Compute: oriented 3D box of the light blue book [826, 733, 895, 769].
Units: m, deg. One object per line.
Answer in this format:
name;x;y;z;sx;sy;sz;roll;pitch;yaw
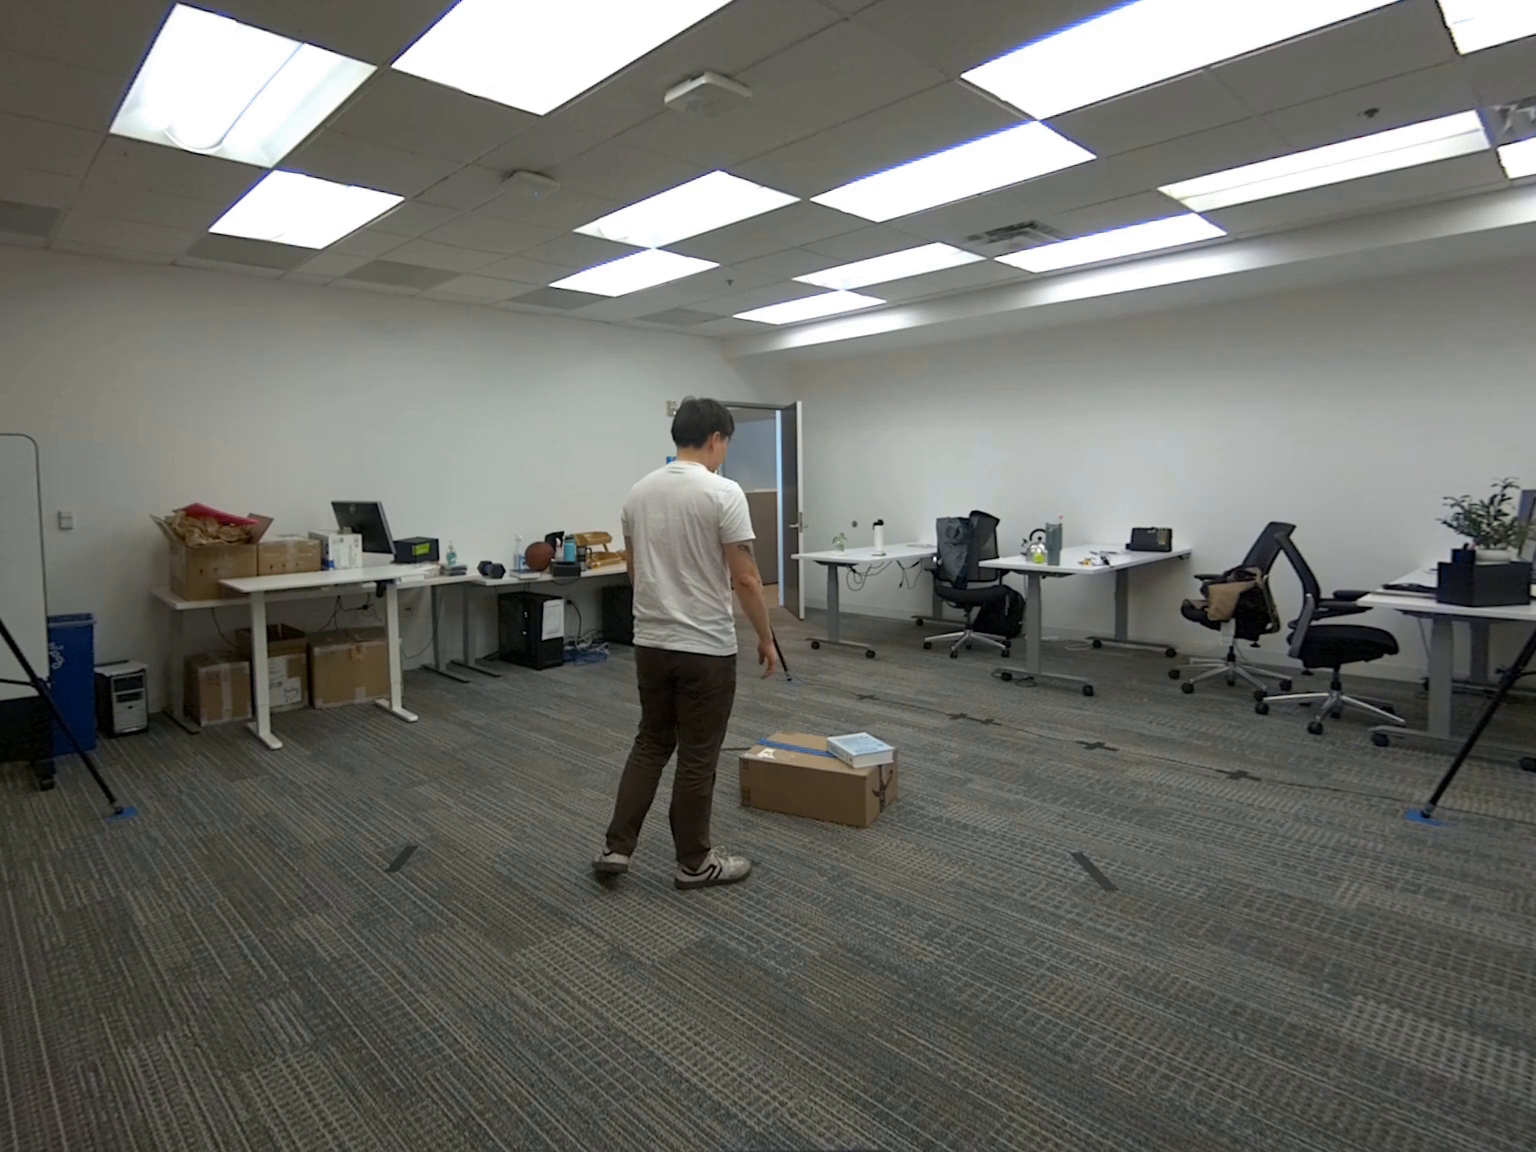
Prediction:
light blue book;0.388;0.738;3.630;0.188;0.059;0.266;-4;6;-20
